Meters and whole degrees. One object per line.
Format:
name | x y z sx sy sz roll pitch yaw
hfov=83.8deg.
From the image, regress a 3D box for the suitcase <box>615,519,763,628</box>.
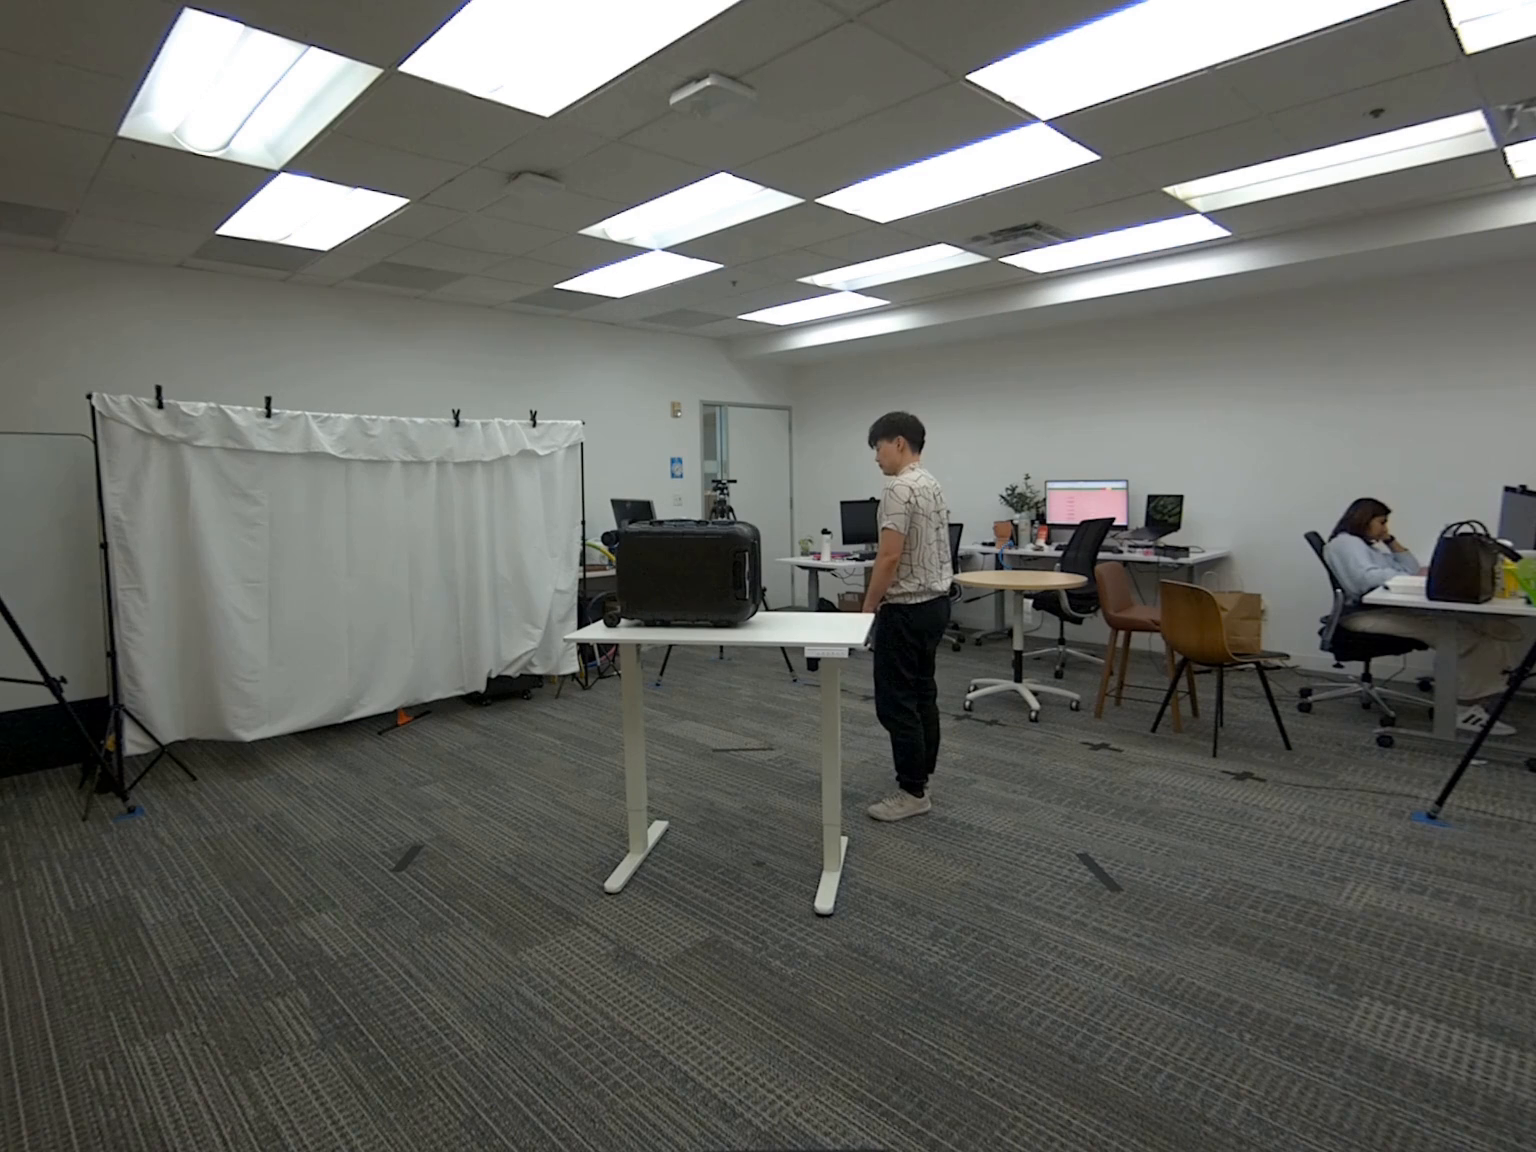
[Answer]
suitcase | -0.293 -0.020 3.077 0.557 0.374 0.246 -1 4 14
